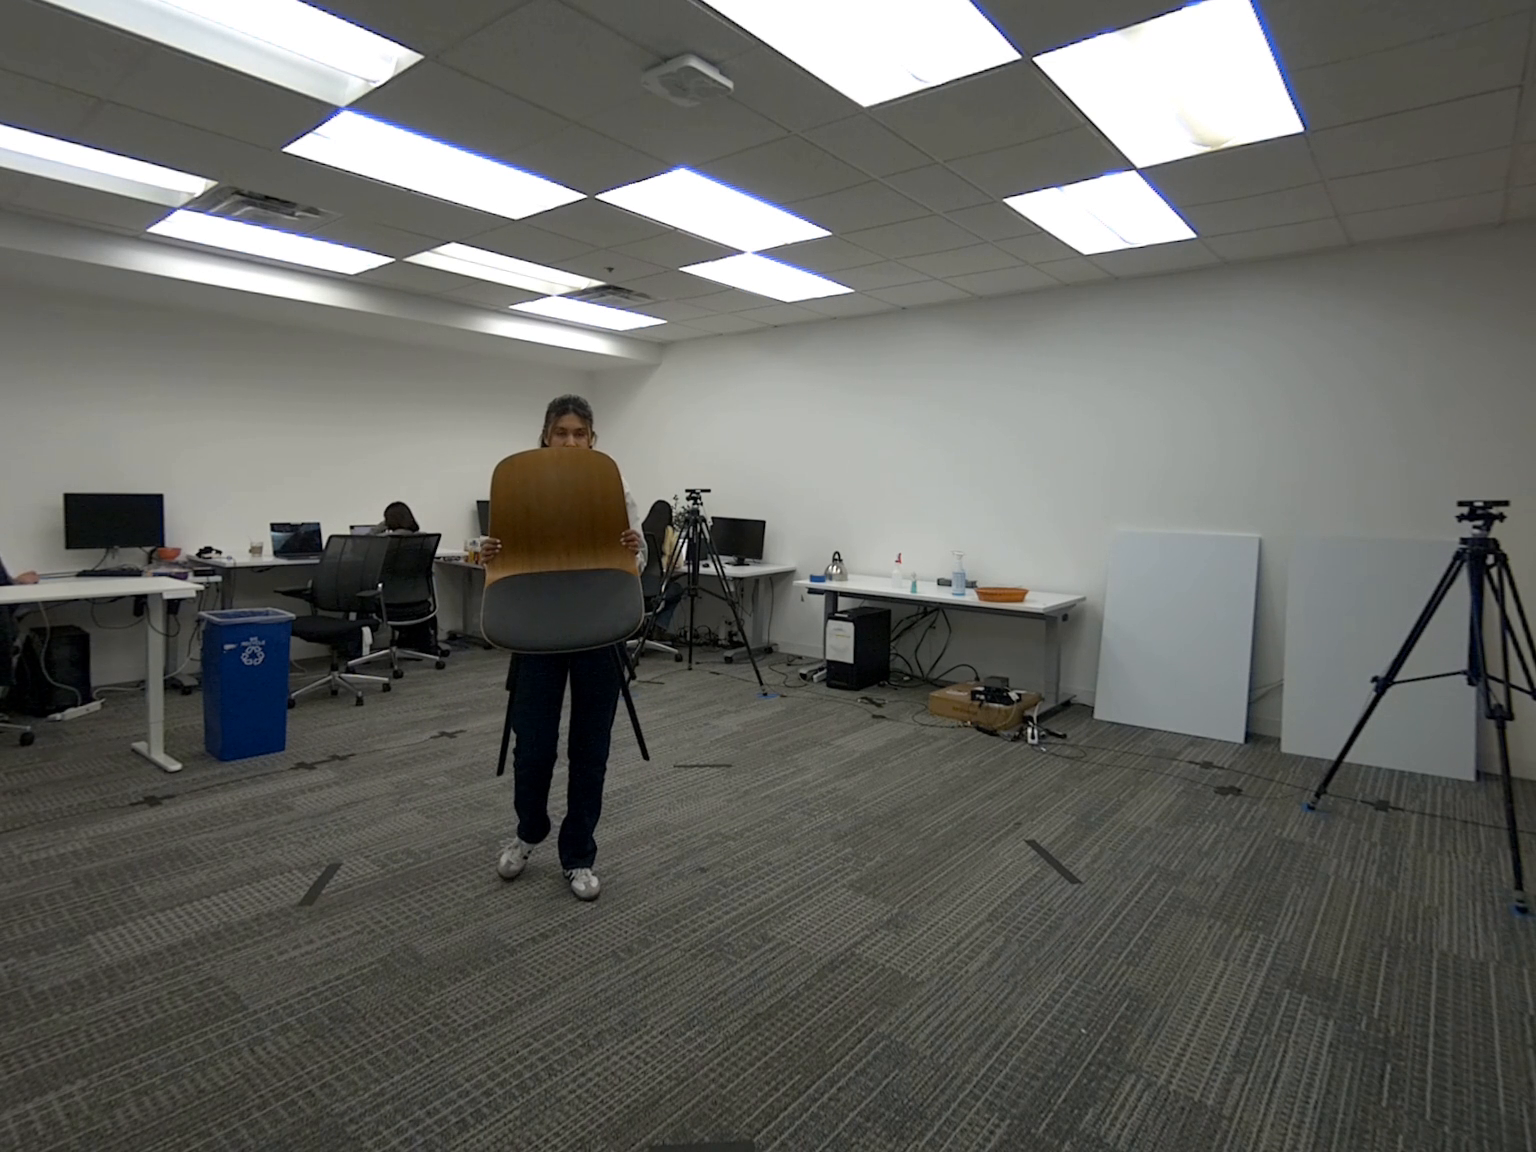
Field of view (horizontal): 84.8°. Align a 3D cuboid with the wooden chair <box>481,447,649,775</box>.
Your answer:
[{"bbox_3d":[-0.619,0.102,2.569,0.473,0.861,0.539,-3,22,-11],"label":"wooden chair"}]
